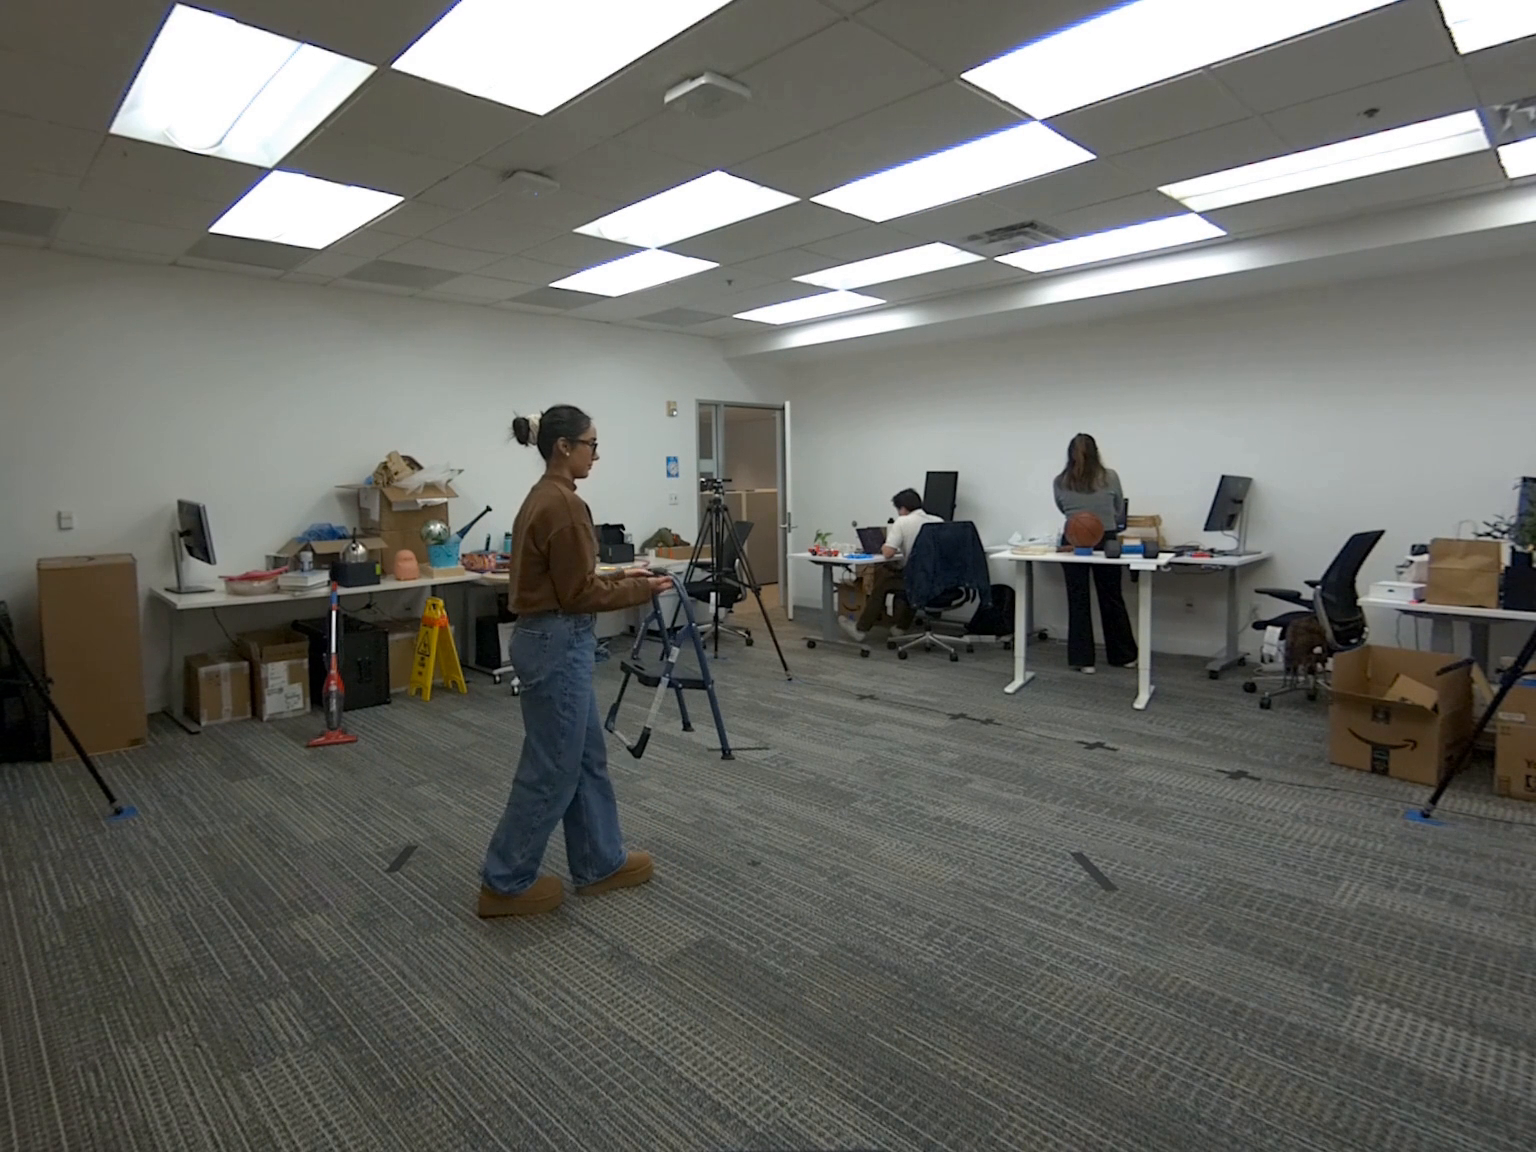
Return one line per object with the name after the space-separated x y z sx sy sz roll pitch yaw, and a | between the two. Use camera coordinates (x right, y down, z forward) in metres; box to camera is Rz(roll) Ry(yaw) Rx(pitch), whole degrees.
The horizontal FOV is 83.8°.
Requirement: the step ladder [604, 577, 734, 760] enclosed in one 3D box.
-0.328 0.286 2.986 0.341 0.607 0.440 5 -1 -25 | step ladder
